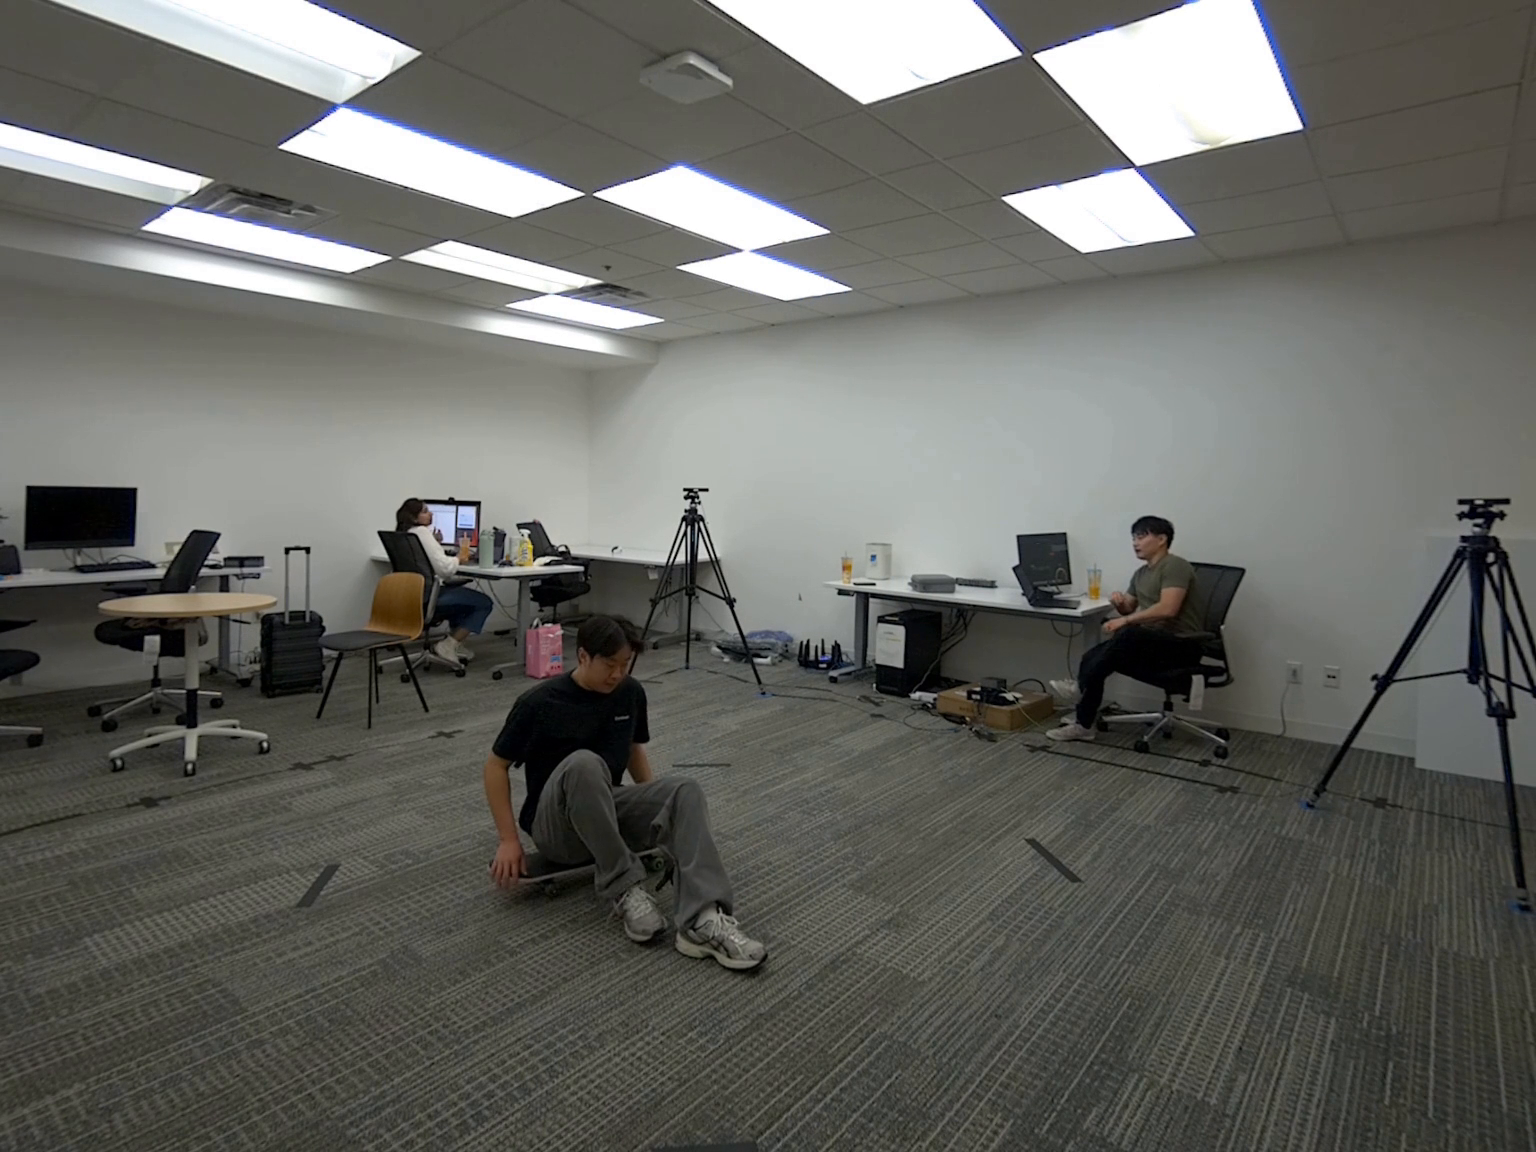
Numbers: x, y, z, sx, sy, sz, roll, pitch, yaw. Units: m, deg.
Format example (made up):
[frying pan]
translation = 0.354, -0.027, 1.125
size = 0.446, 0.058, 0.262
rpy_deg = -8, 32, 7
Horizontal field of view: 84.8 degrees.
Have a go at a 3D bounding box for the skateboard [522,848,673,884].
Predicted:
[skateboard]
translation = -0.622, 1.019, 3.050
size = 0.764, 0.110, 0.199
rpy_deg = -3, 5, -32
